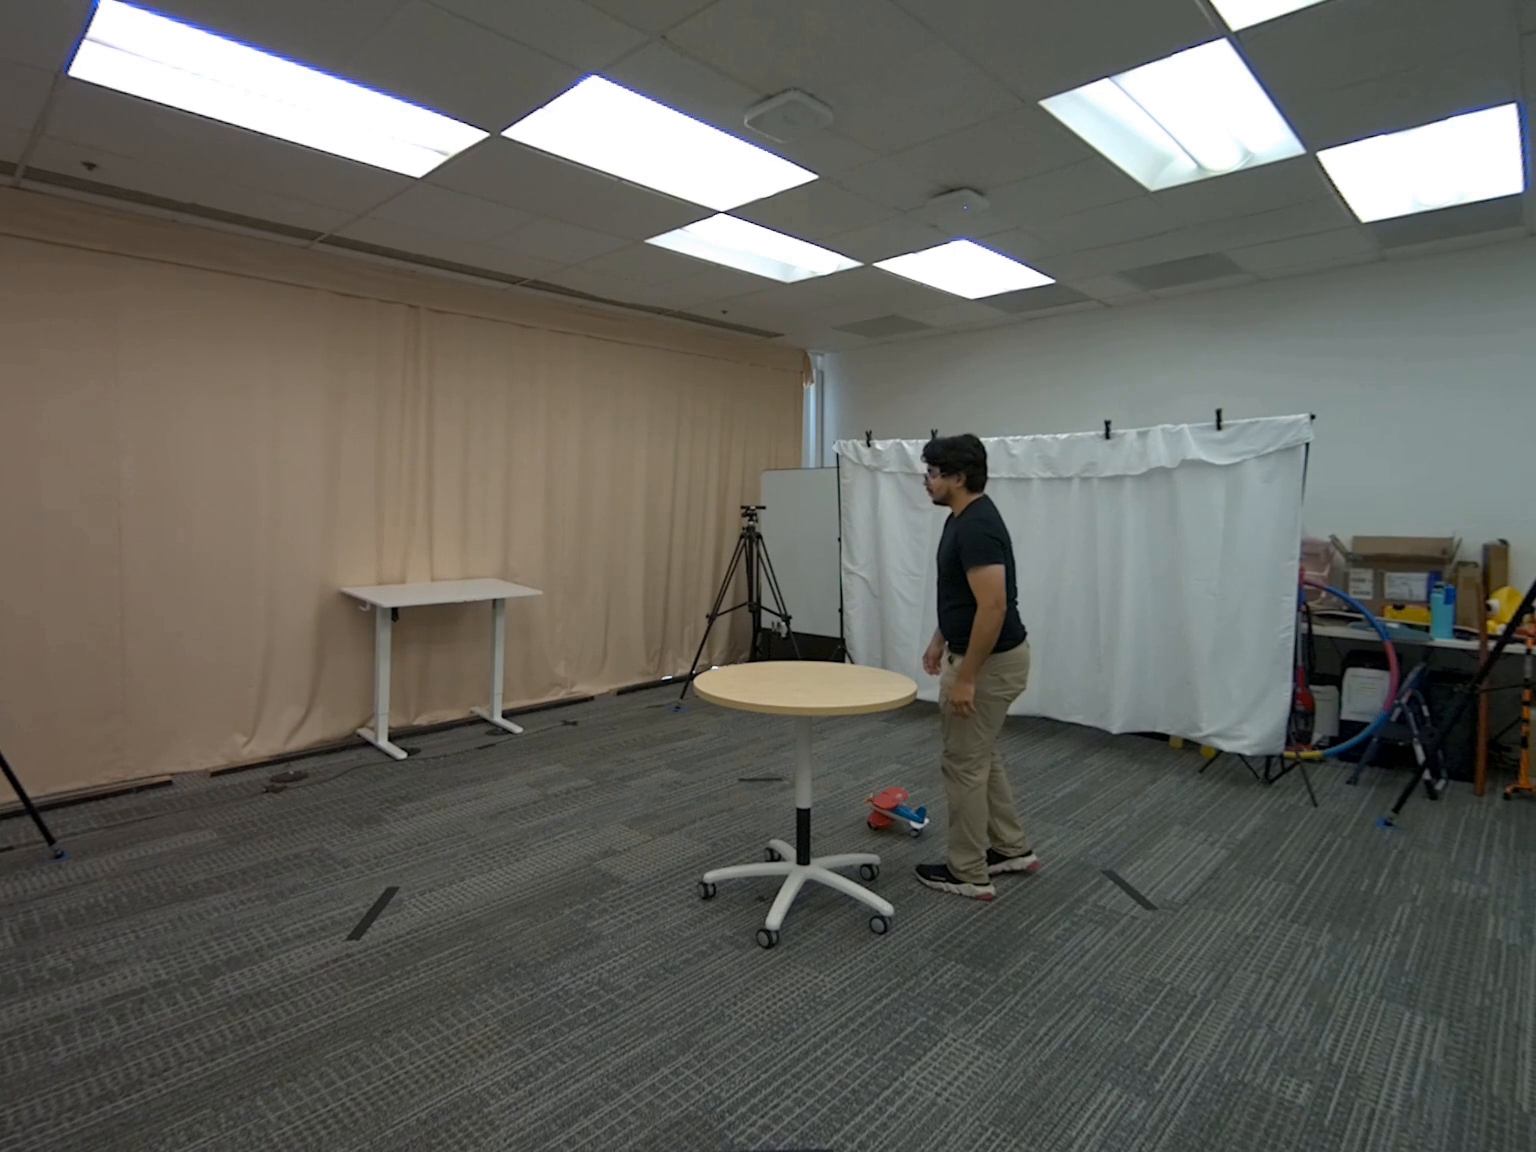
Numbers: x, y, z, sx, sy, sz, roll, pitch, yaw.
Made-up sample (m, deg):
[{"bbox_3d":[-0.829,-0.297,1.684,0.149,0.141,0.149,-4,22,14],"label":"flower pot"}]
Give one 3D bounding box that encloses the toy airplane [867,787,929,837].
[{"bbox_3d":[0.560,1.016,3.626,0.261,0.156,0.249,-1,3,6],"label":"toy airplane"}]
